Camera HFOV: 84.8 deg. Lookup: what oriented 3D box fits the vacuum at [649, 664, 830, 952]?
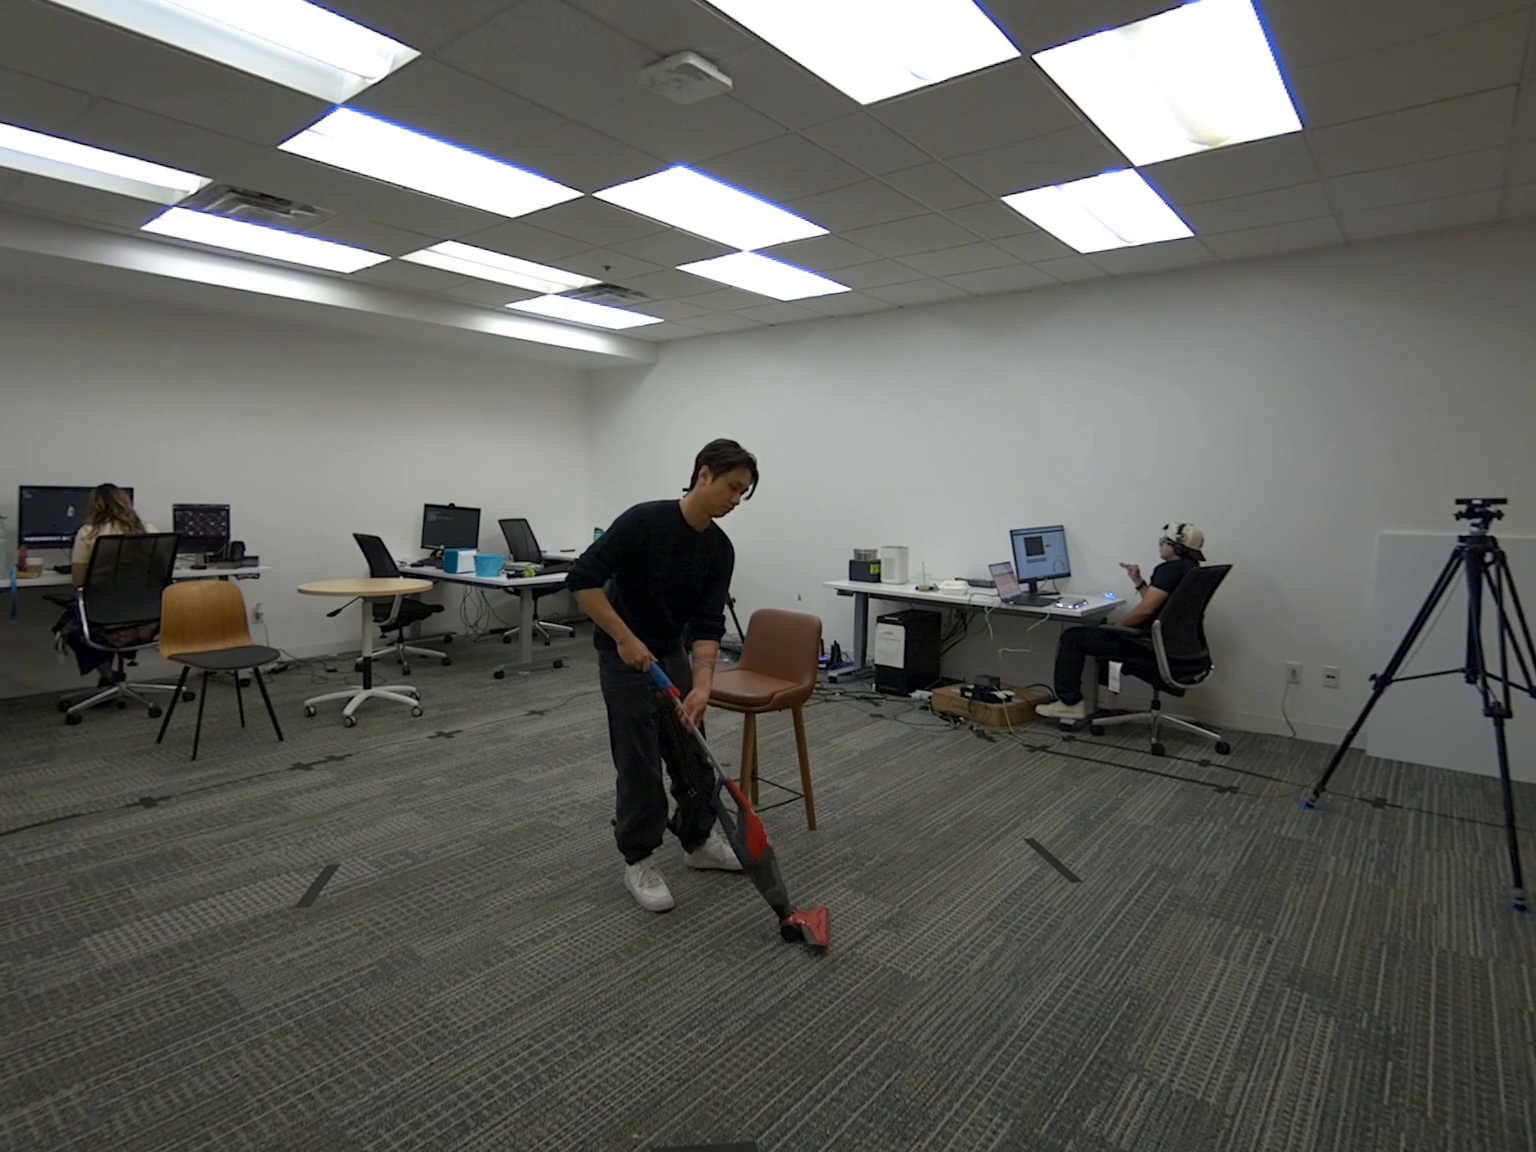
[{"bbox_3d":[-0.151,0.669,2.708,0.144,1.057,0.250,-34,-5,12],"label":"vacuum"}]
